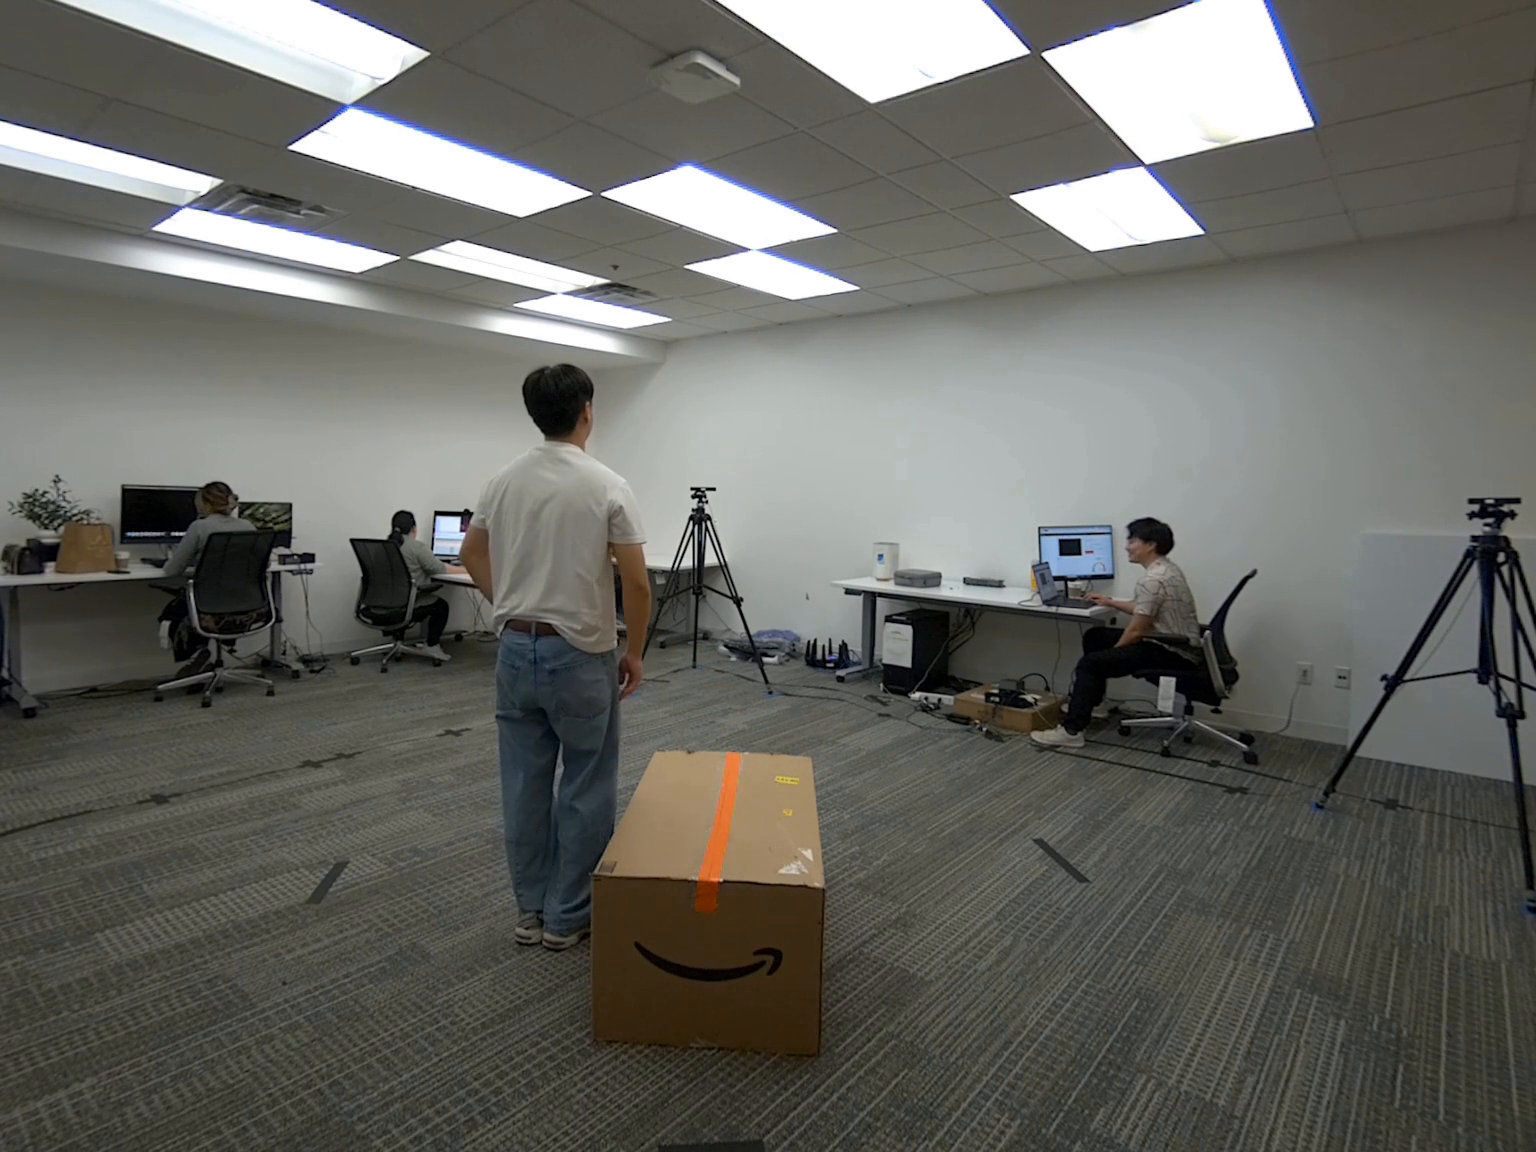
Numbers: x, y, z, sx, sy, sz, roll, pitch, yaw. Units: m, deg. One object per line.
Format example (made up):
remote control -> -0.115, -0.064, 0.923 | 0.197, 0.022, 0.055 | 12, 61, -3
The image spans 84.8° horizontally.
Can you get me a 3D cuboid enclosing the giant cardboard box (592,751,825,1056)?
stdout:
giant cardboard box -> -0.149, 0.901, 2.596 | 0.579, 0.425, 1.027 | 2, 5, 1
